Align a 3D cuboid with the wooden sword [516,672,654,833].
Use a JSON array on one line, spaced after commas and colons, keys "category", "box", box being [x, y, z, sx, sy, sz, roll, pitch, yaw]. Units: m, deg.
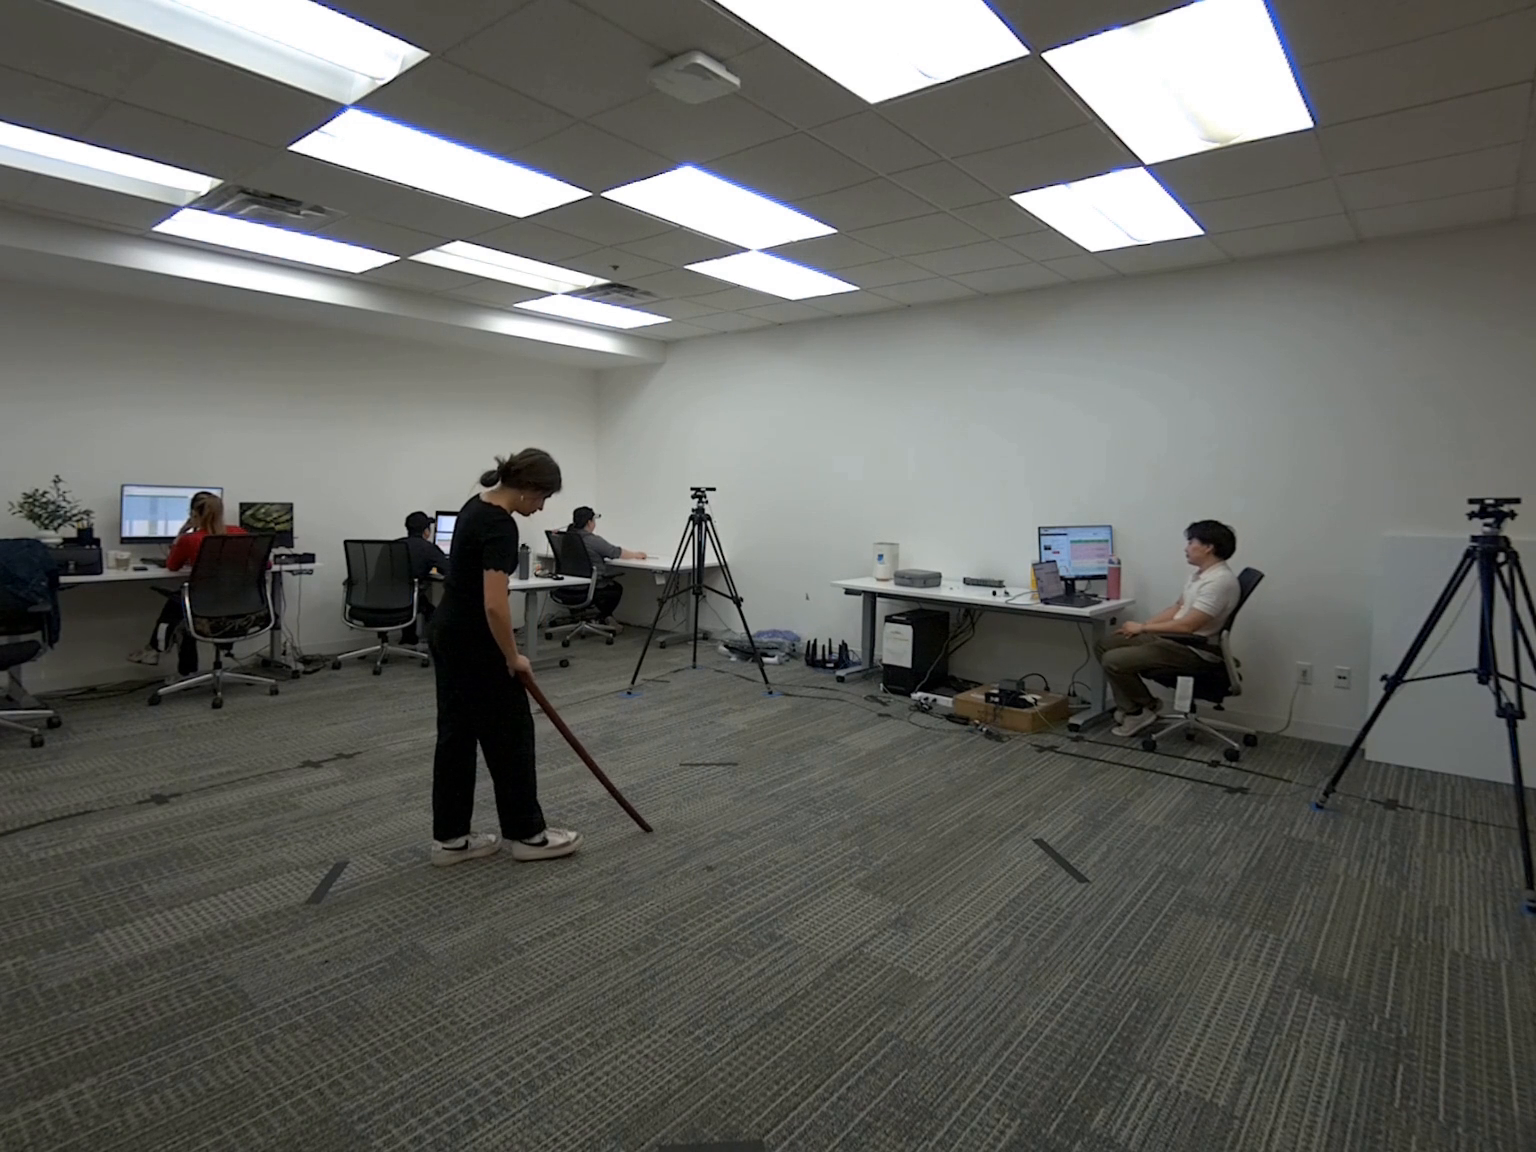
[{"category": "wooden sword", "box": [-0.721, 0.668, 3.246, 0.053, 0.991, 0.024, -7, 37, 39]}]
